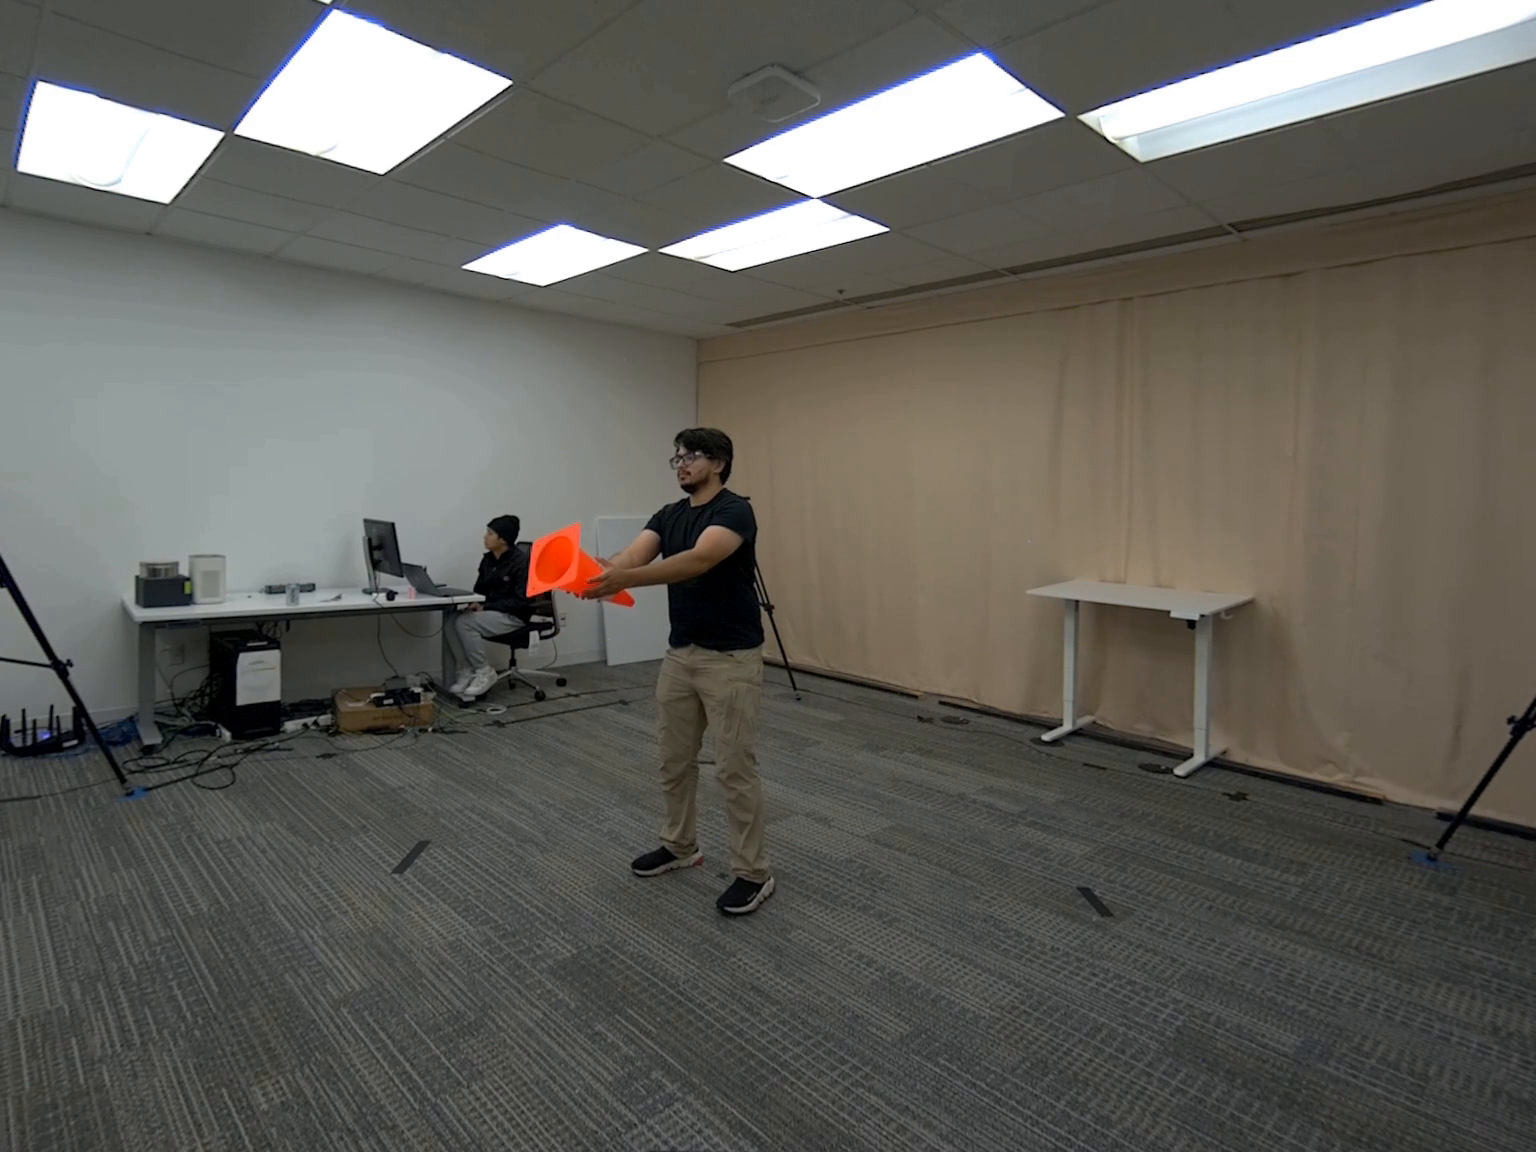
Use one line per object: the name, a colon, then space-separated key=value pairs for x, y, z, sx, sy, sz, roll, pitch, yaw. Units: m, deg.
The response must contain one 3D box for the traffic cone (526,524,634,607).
traffic cone: x=-0.552 y=0.024 z=2.662 sx=0.207 sy=0.207 sz=0.371 roll=-20 pitch=-32 yaw=26
